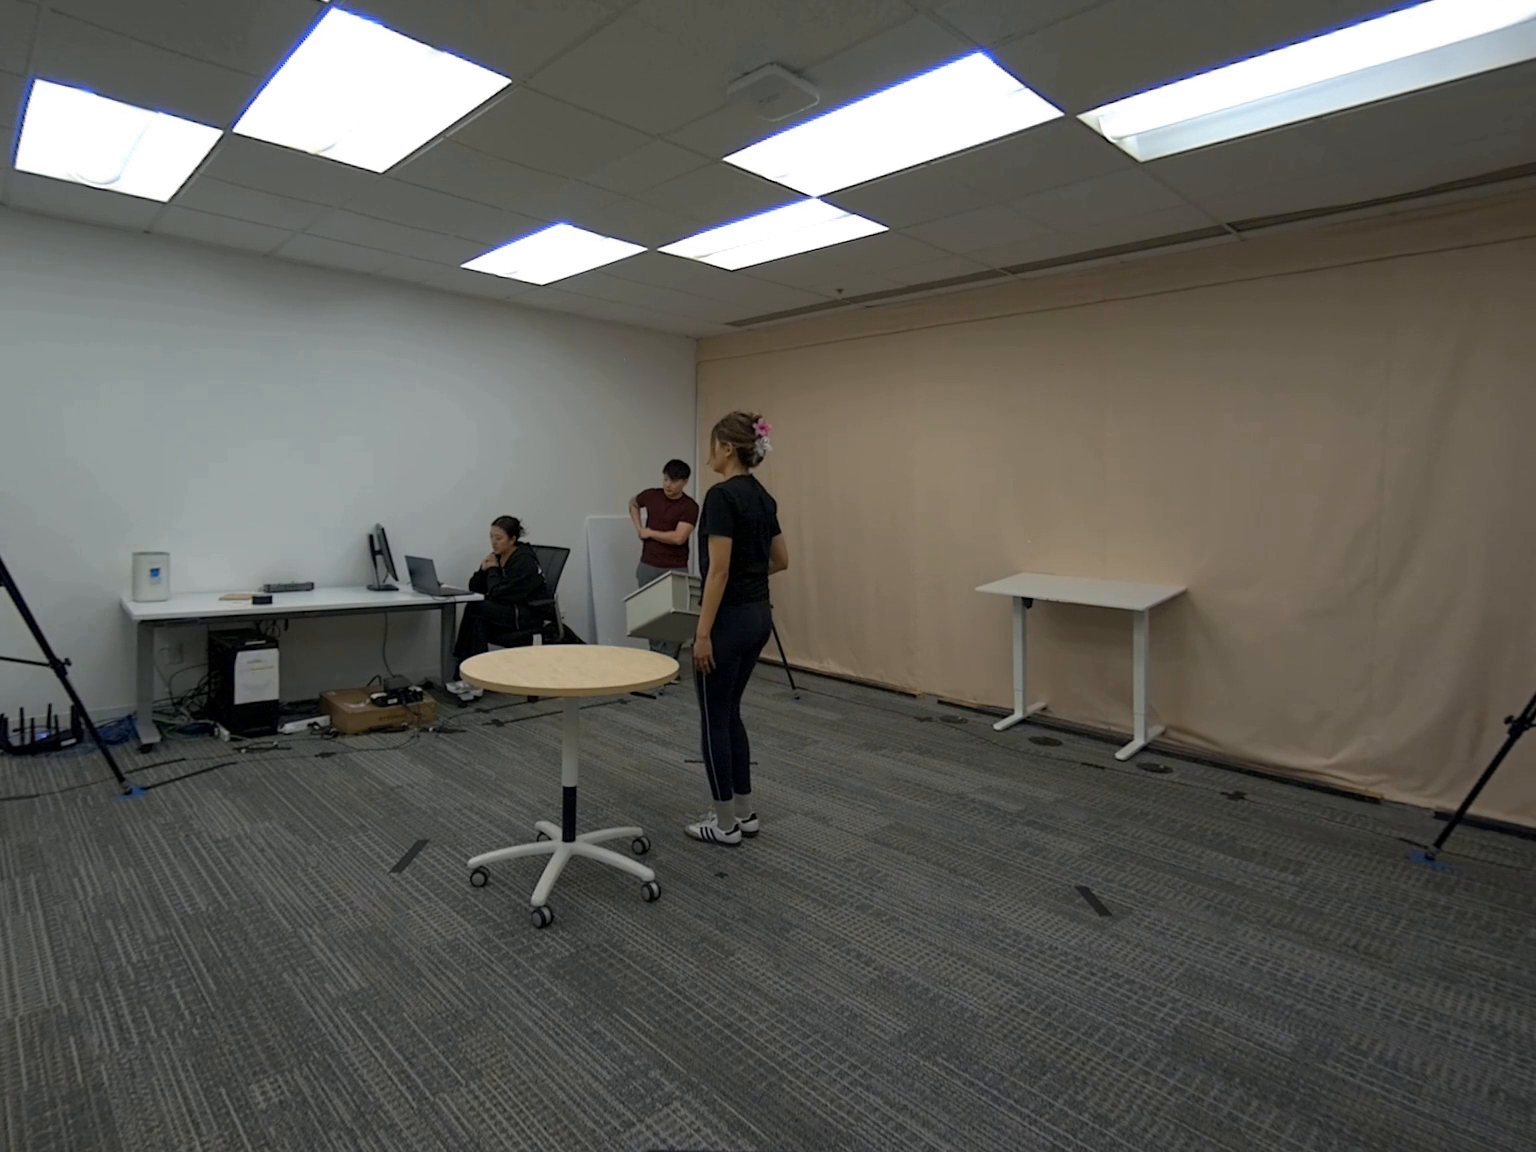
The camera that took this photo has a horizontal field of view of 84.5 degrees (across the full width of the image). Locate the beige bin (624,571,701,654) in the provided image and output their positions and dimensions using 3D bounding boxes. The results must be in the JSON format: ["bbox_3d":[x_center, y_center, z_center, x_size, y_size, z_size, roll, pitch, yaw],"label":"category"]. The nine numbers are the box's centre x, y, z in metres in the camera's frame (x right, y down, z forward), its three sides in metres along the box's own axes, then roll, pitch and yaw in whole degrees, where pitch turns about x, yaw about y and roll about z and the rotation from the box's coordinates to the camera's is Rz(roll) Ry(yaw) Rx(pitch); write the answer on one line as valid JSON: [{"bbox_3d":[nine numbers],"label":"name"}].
[{"bbox_3d":[-0.395,0.157,3.815,0.368,0.192,0.426,10,-24,-35],"label":"beige bin"}]
